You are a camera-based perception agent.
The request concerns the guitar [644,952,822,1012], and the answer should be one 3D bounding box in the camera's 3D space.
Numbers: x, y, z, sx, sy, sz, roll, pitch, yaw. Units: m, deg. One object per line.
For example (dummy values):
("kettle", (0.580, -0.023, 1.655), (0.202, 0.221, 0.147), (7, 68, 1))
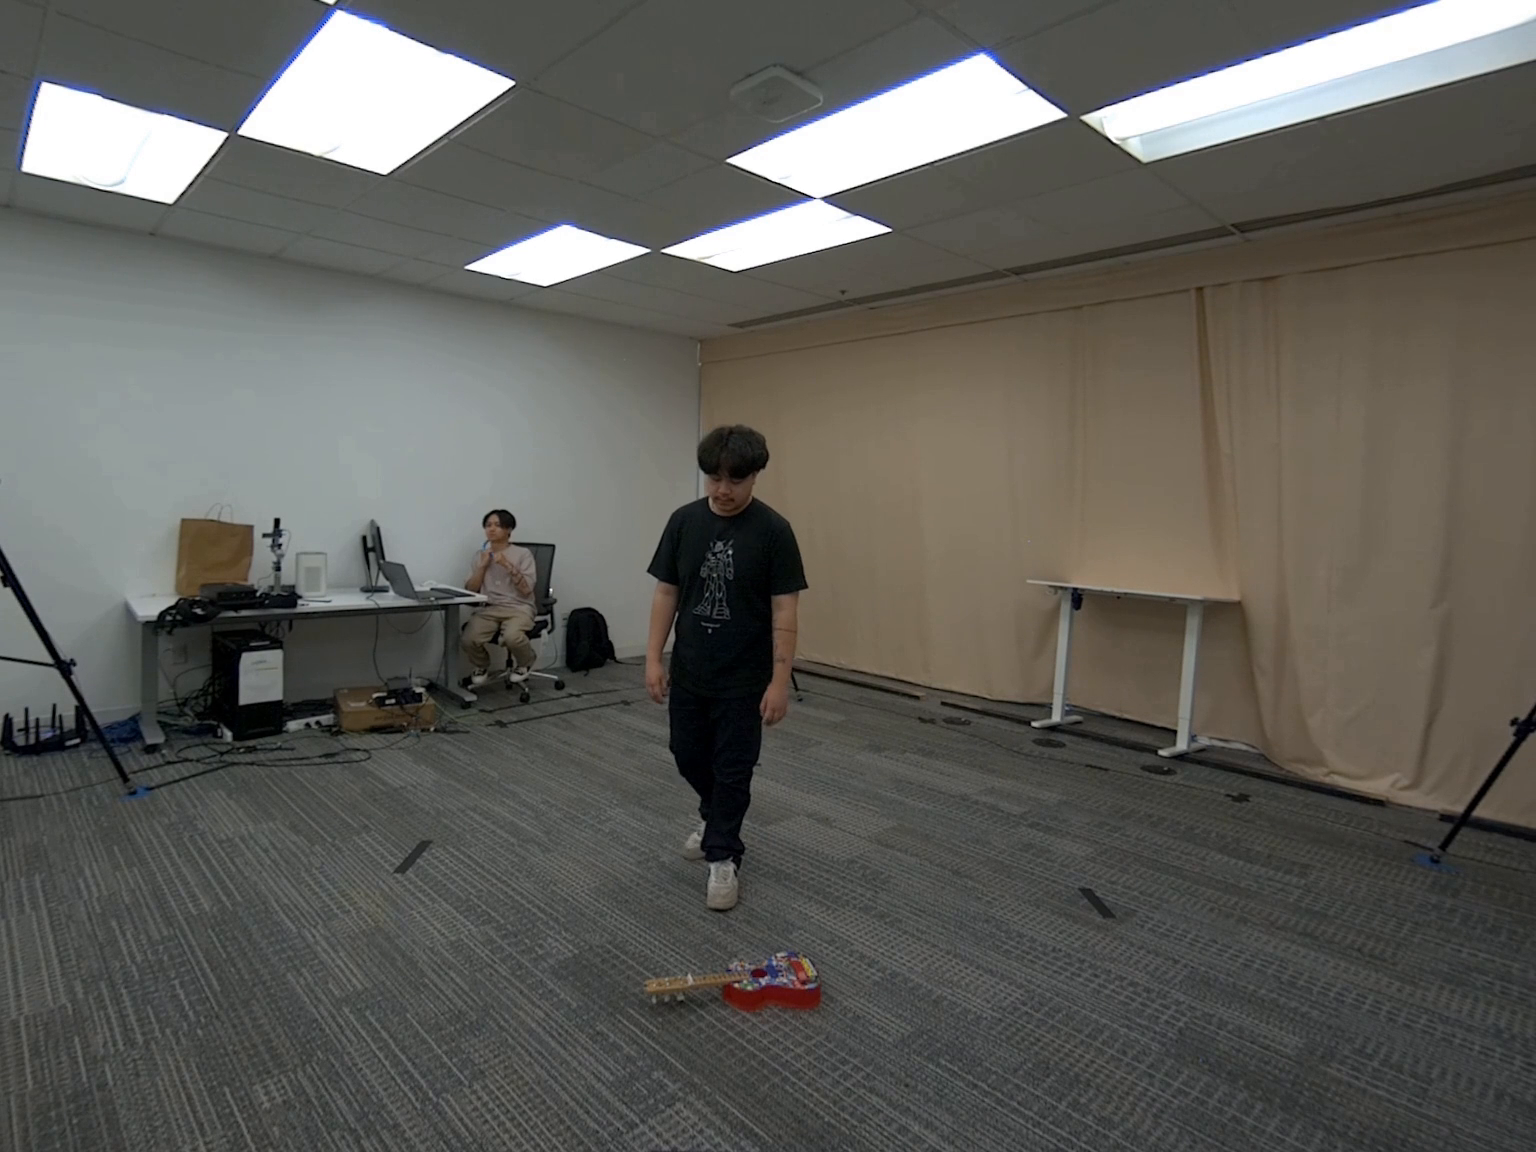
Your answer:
("guitar", (-0.109, 1.138, 2.376), (0.495, 0.070, 0.194), (2, 6, -6))
